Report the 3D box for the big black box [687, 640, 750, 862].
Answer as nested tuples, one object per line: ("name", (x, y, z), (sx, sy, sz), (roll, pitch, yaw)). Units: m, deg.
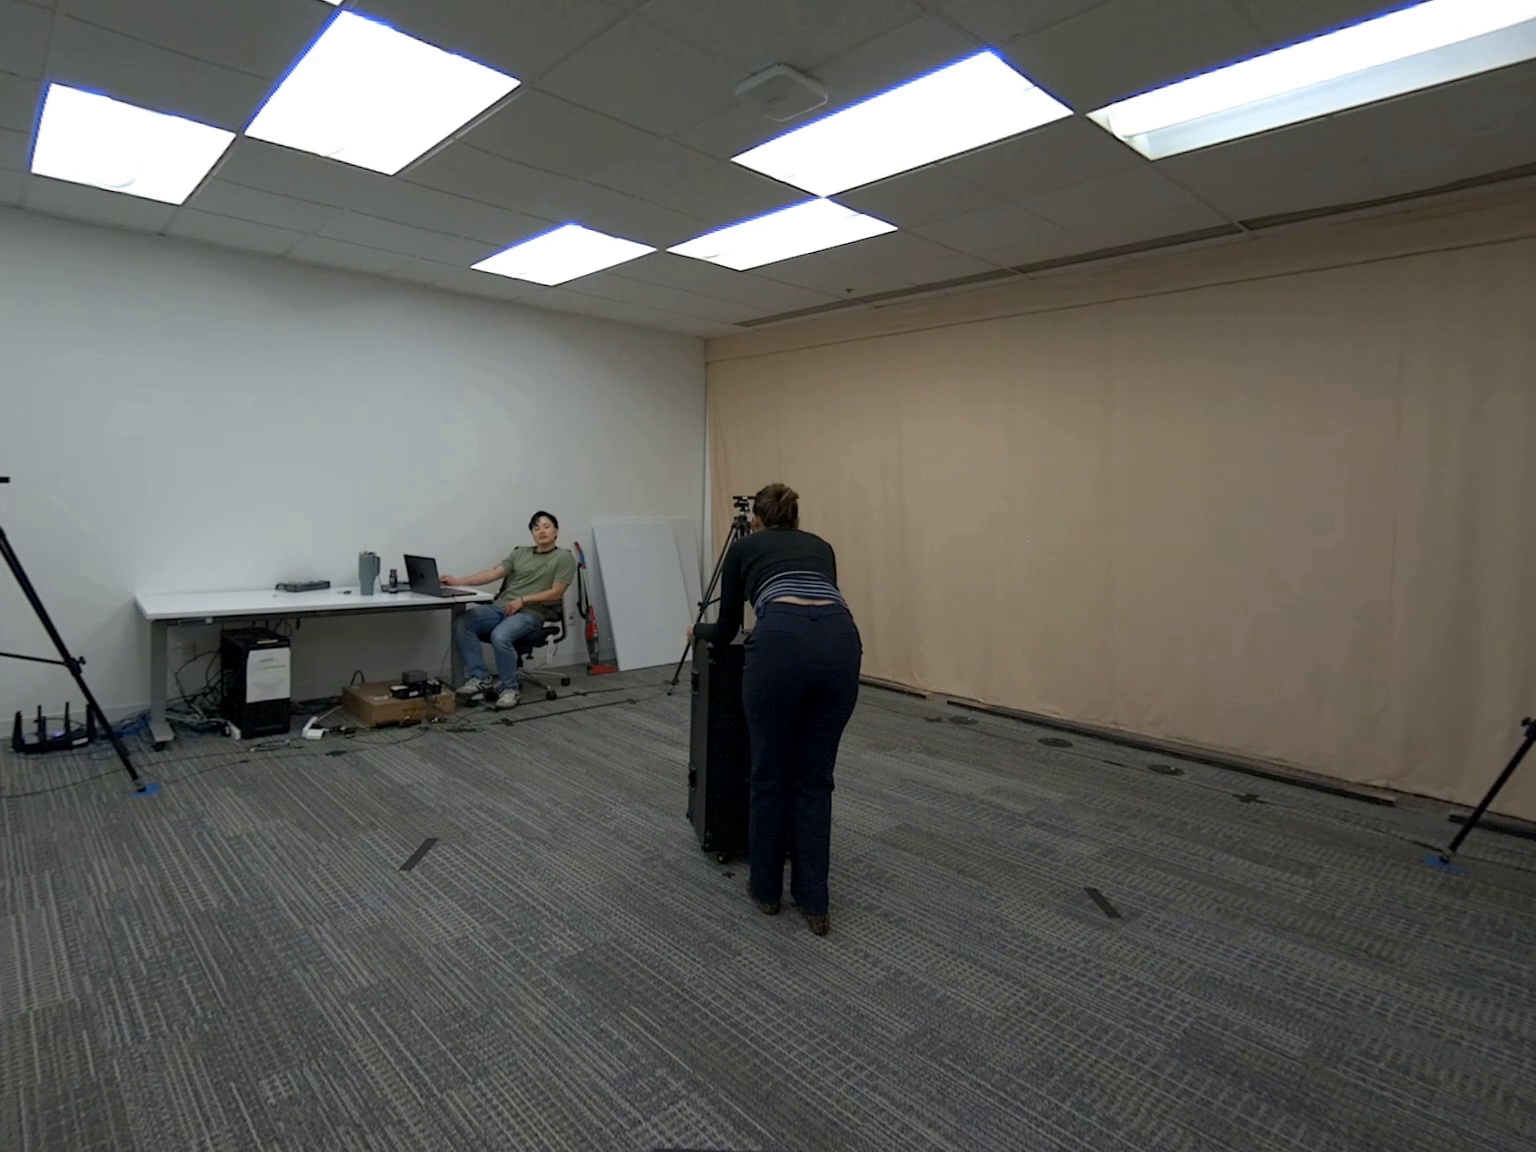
("big black box", (-0.041, 0.662, 3.320), (0.515, 0.859, 0.402), (1, 5, -14))
